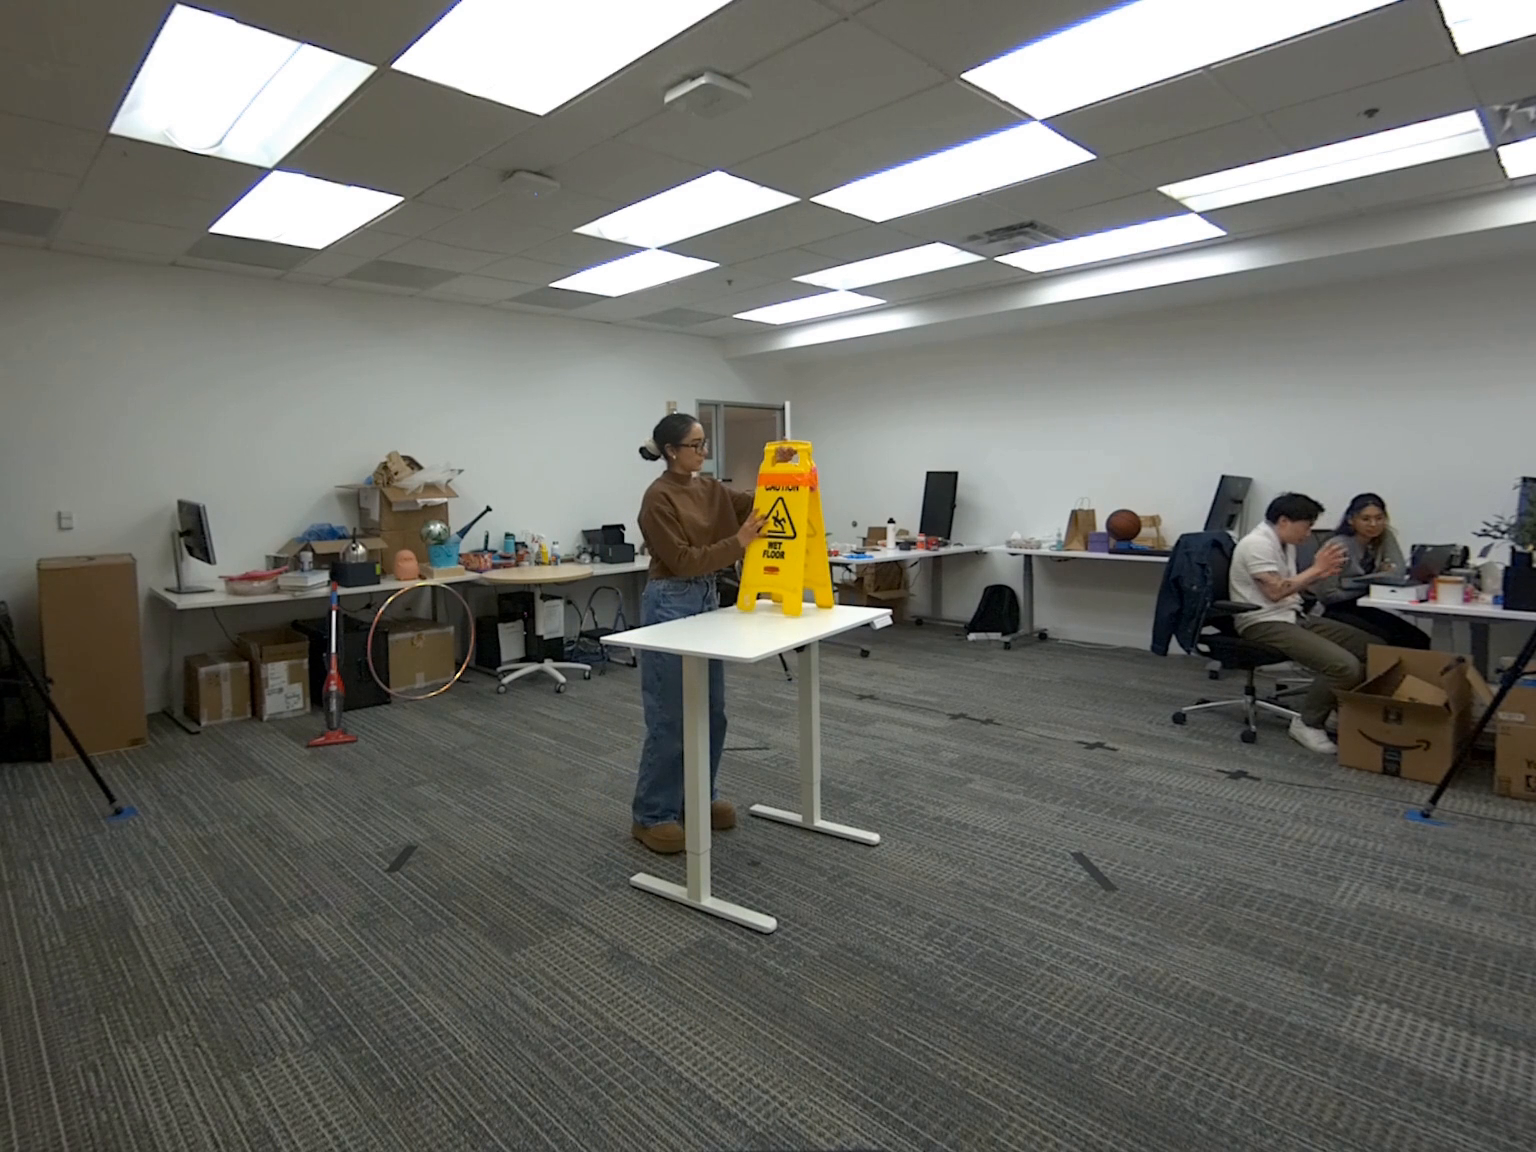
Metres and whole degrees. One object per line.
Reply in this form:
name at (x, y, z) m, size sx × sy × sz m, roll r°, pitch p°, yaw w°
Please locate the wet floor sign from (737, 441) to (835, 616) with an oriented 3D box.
wet floor sign at (0.076, -0.198, 3.310) m, size 0.290 × 0.644 × 0.283 m, roll 3°, pitch 4°, yaw 32°
